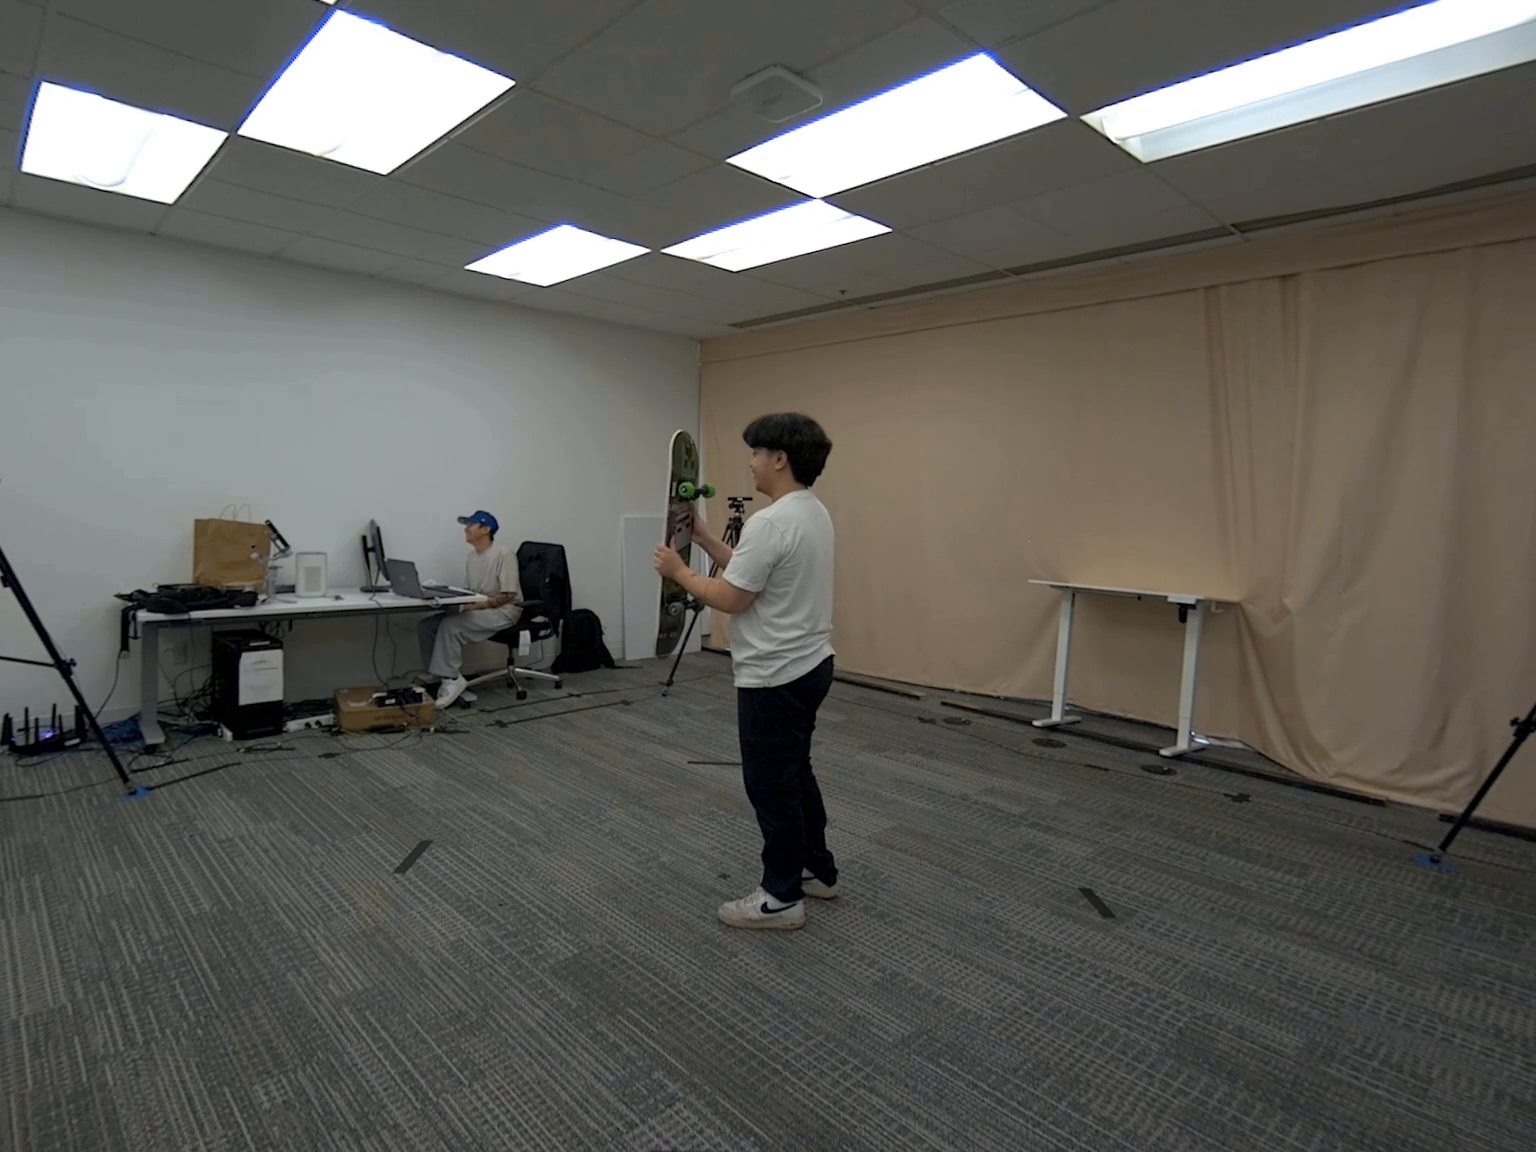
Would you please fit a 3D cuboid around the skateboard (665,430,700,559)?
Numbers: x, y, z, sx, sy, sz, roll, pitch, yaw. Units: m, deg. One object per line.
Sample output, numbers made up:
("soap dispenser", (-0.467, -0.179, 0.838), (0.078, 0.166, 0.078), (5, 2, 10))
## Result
("skateboard", (-0.288, -0.092, 2.861), (0.112, 0.782, 0.190), (8, 7, 24))
